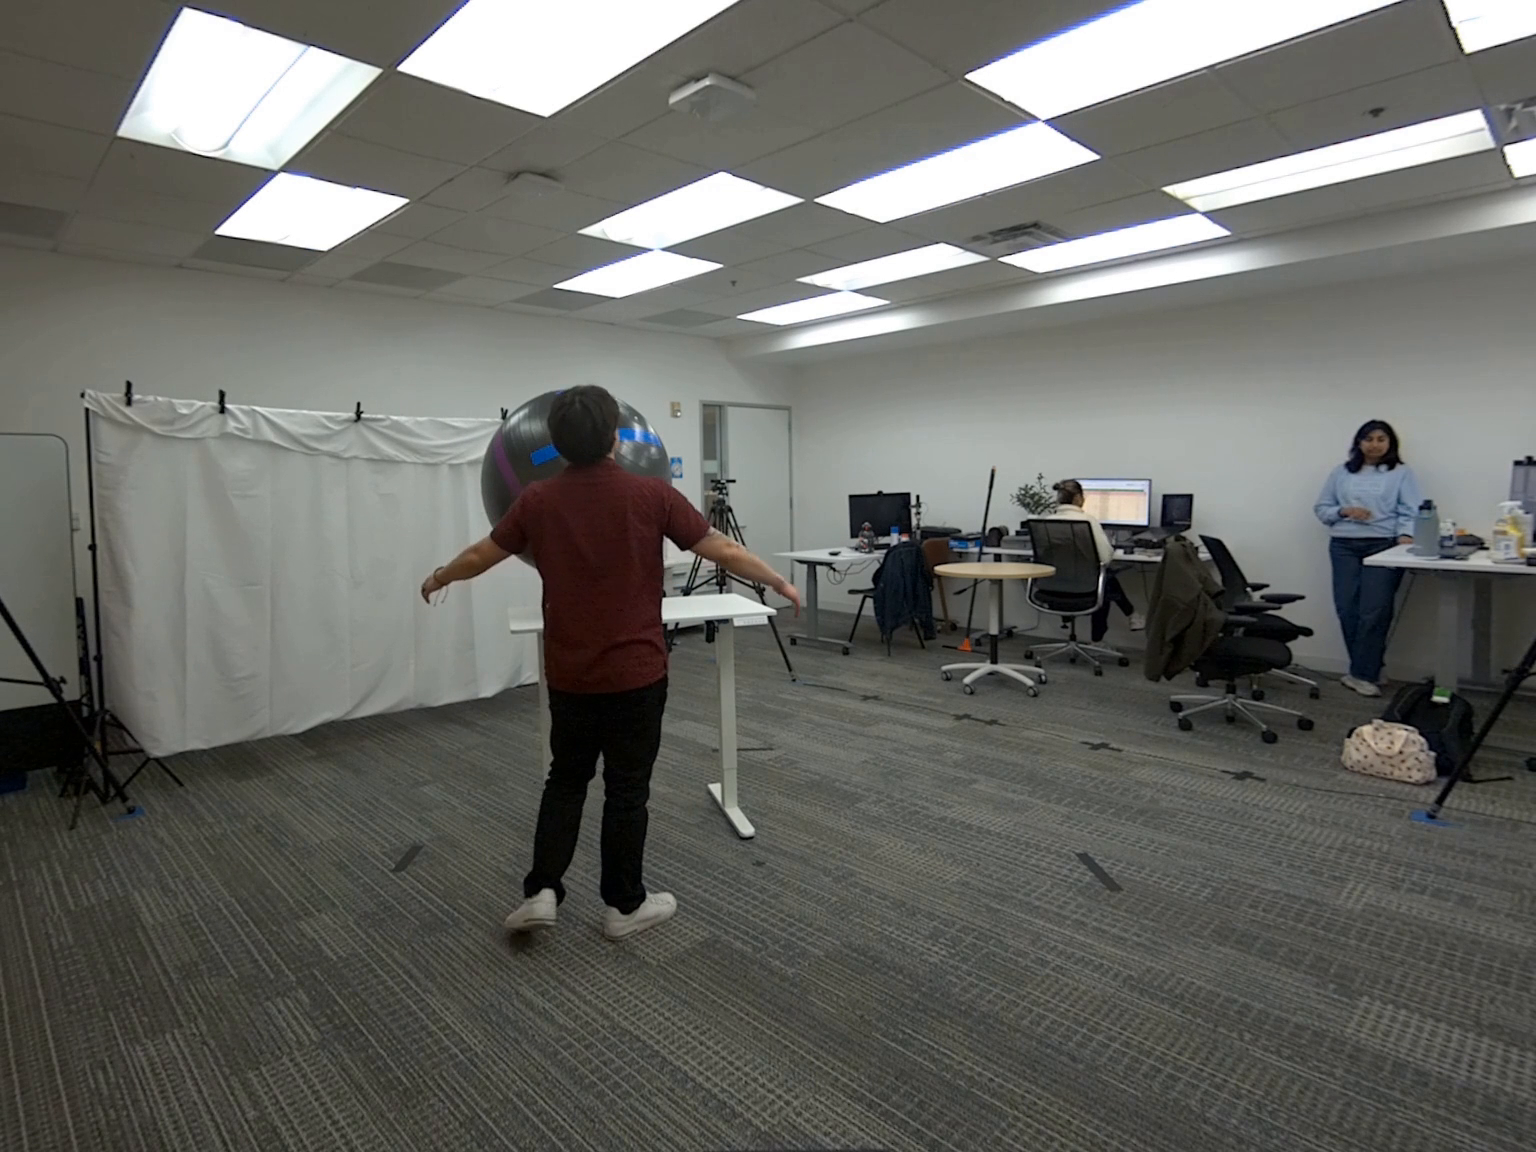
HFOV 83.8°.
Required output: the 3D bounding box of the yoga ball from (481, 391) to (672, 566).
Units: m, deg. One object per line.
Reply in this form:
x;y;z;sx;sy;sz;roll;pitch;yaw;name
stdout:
-0.773;-0.364;3.448;0.757;0.755;0.762;-1;5;-2;yoga ball
